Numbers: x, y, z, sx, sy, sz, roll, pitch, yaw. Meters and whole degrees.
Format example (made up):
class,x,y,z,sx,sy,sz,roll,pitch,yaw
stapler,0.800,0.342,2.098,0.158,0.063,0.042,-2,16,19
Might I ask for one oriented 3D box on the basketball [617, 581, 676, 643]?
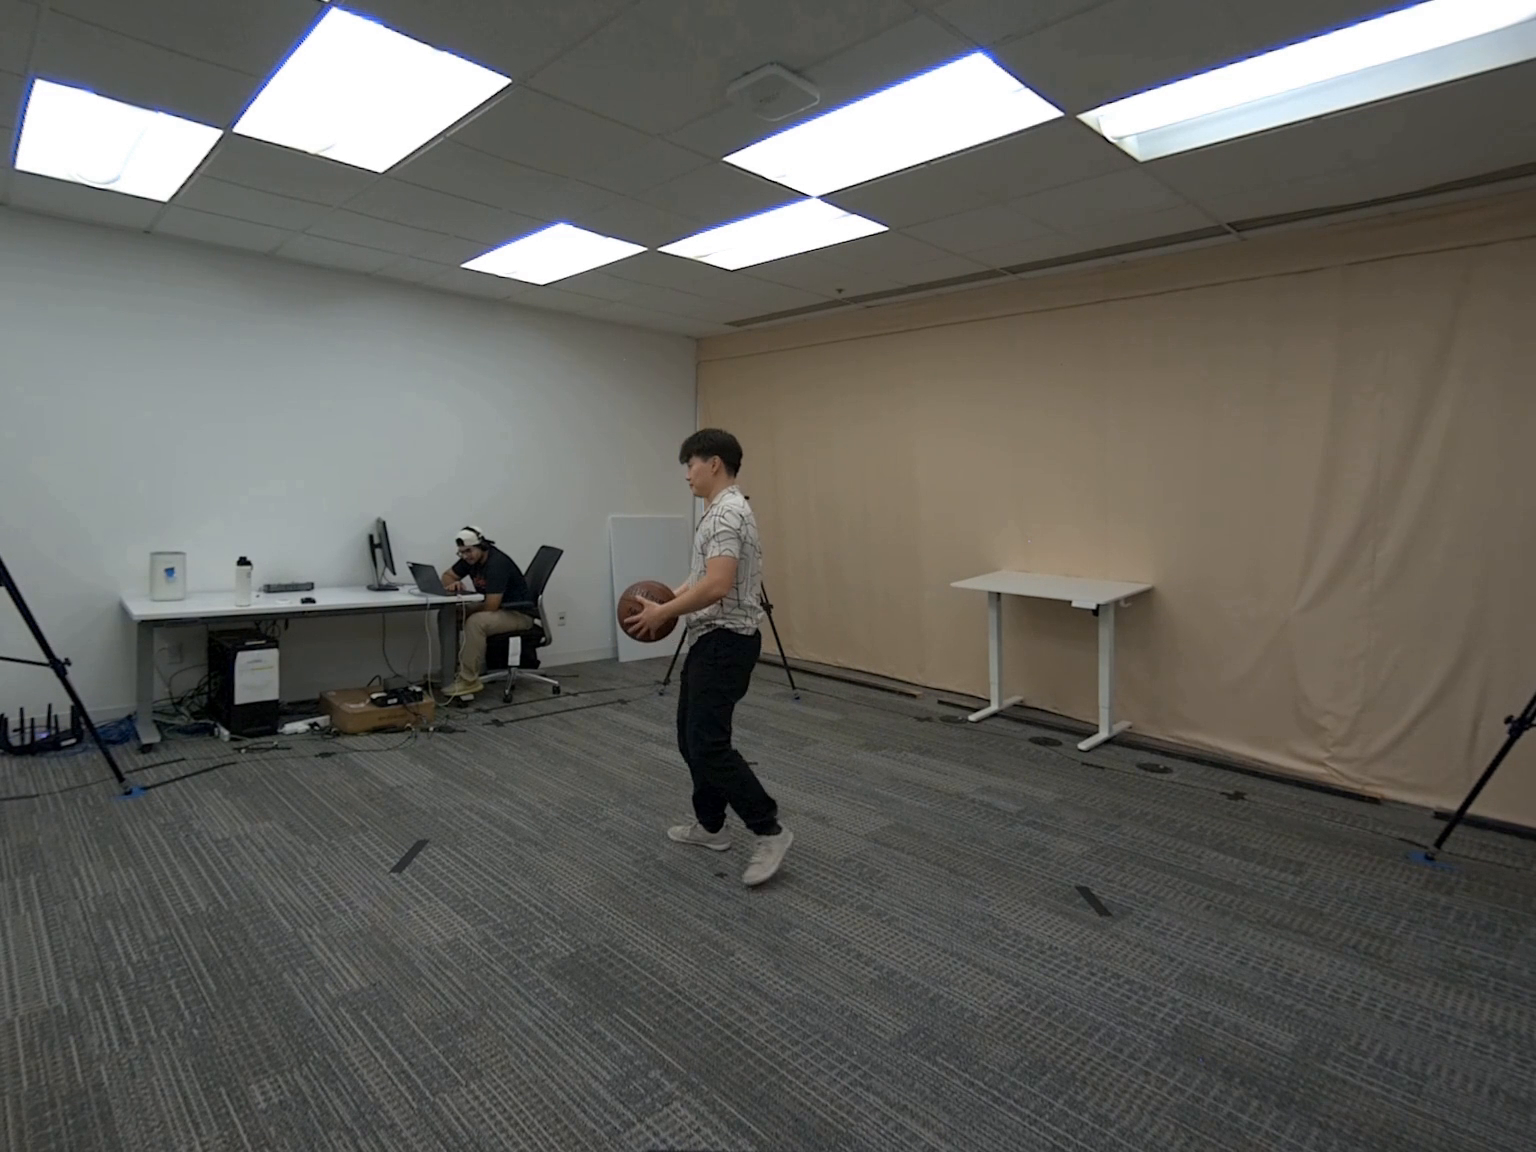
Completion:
class,x,y,z,sx,sy,sz,roll,pitch,yaw
basketball,-0.462,0.122,3.218,0.236,0.235,0.237,1,4,-1
